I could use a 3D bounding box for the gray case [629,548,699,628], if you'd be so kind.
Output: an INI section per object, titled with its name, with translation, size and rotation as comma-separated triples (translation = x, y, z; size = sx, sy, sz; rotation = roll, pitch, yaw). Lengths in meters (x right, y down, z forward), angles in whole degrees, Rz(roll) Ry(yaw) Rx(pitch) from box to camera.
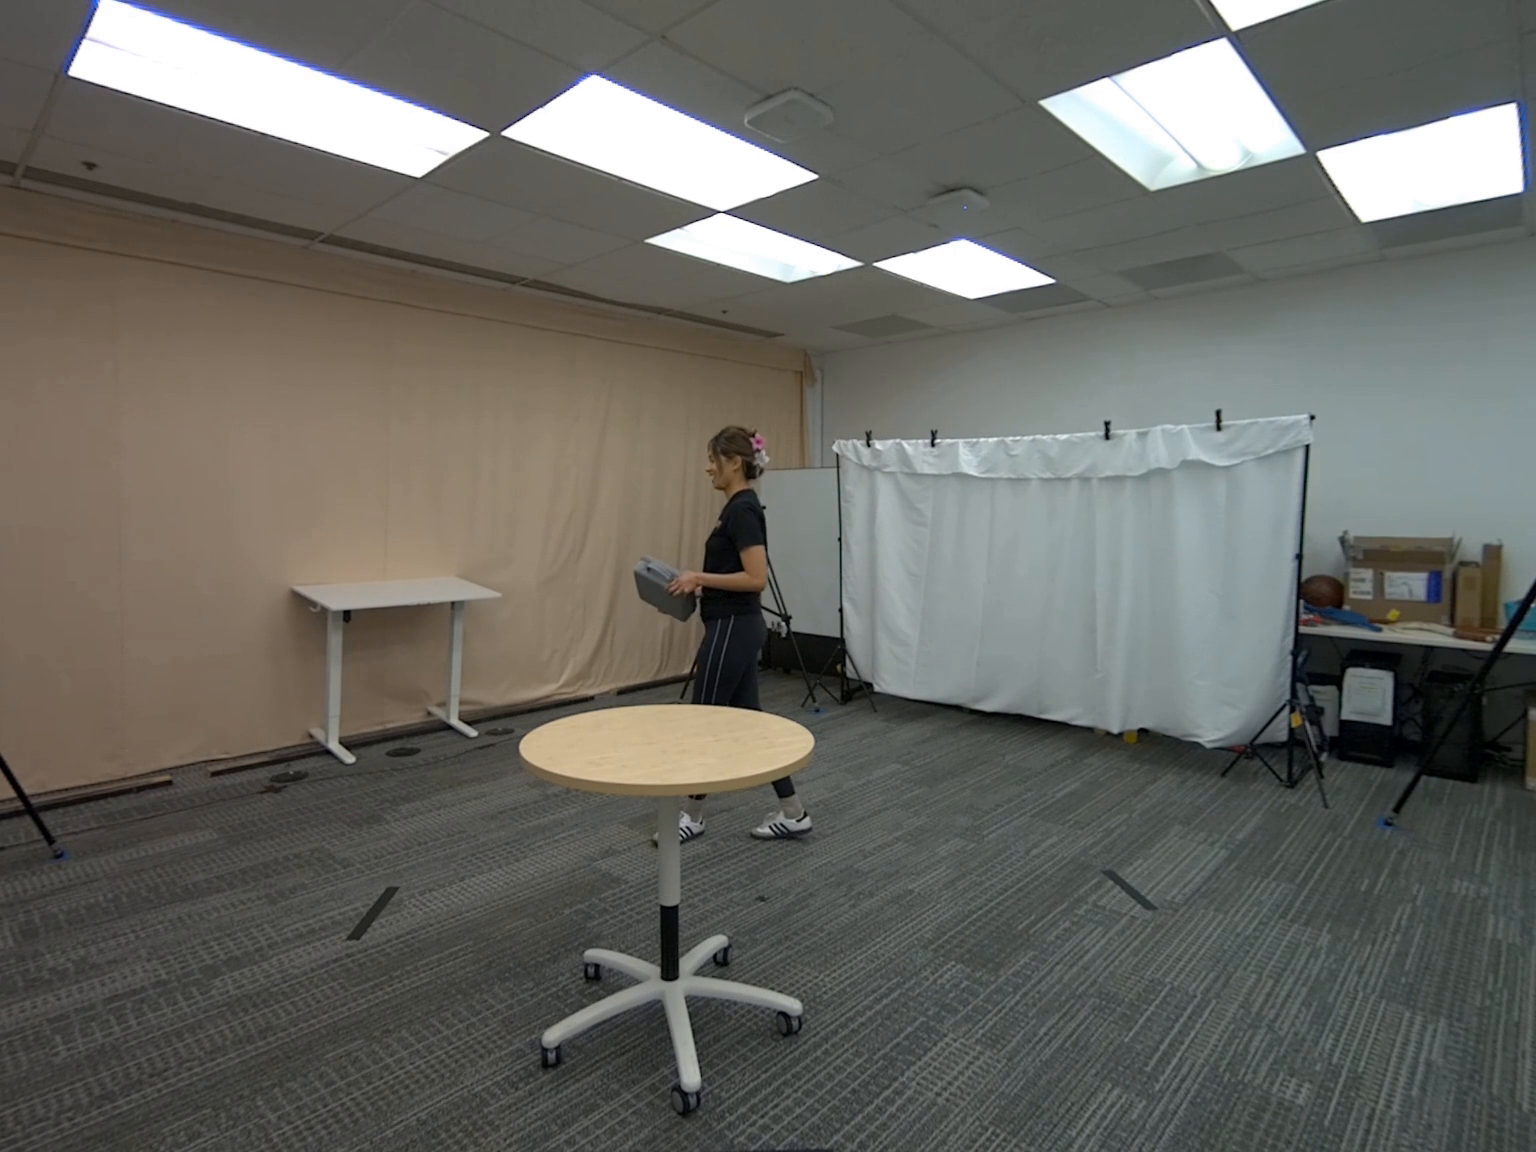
[gray case]
translation = -0.425, 0.051, 3.511
size = 0.263, 0.104, 0.255
rotation = 28, -28, 18
